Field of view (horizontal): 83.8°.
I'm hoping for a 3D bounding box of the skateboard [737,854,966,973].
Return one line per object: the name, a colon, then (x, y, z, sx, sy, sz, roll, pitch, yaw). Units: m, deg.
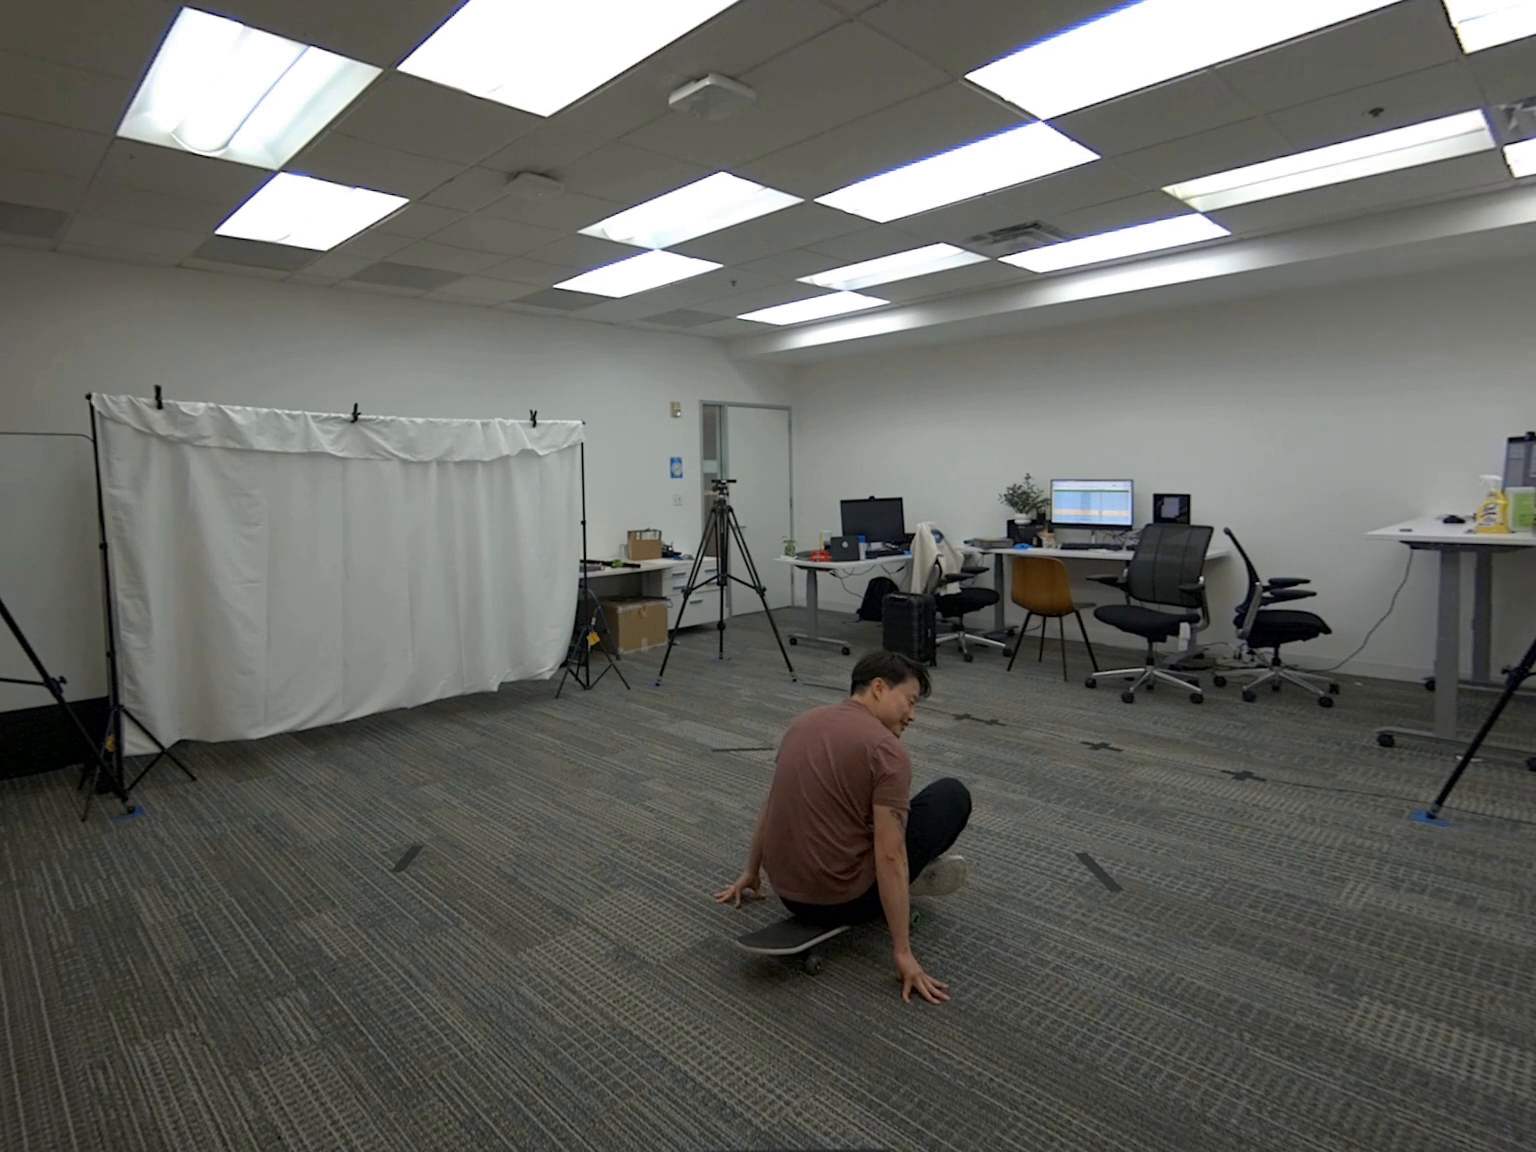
skateboard: (0.258, 1.045, 2.577, 0.768, 0.111, 0.197, -9, -3, -31)
